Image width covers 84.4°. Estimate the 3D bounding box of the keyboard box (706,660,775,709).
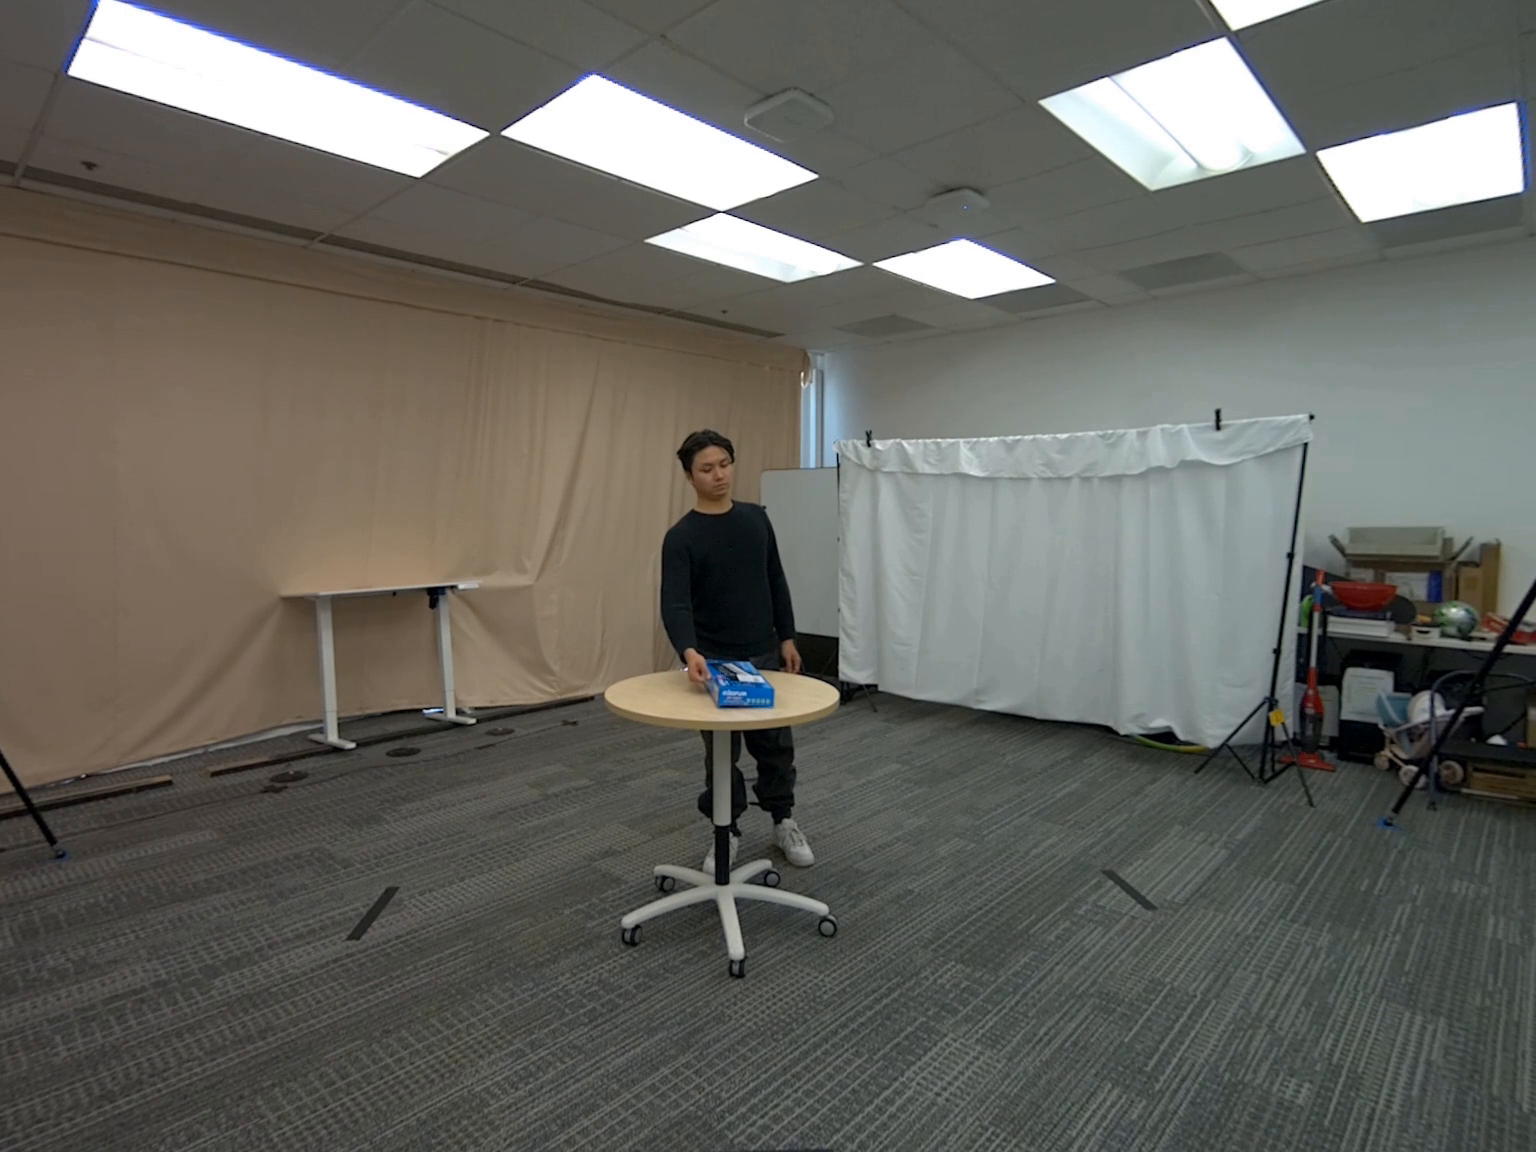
[{"bbox_3d":[-0.107,0.344,2.745,0.174,0.059,0.442,4,4,-11],"label":"keyboard box"}]
